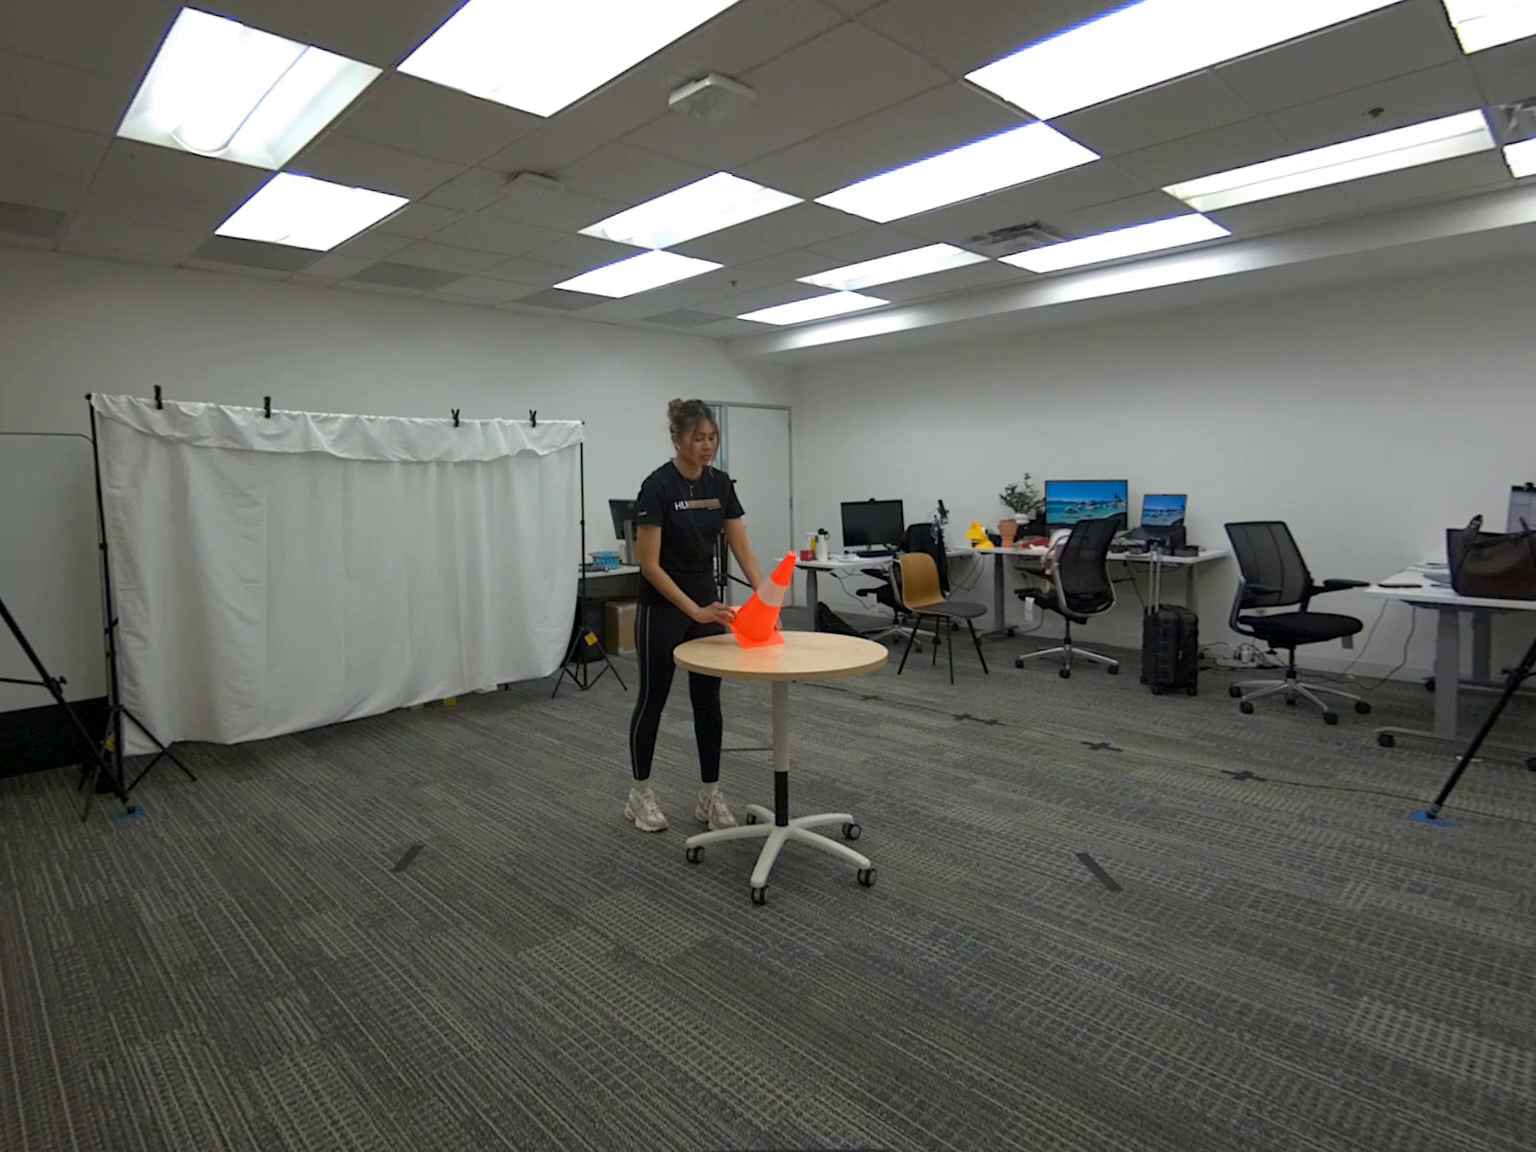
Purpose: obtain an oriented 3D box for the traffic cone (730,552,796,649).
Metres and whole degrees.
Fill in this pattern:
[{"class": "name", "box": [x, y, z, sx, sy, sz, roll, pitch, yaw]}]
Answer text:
[{"class": "traffic cone", "box": [0.020, 0.060, 3.097, 0.199, 0.379, 0.212, -13, 51, -43]}]
